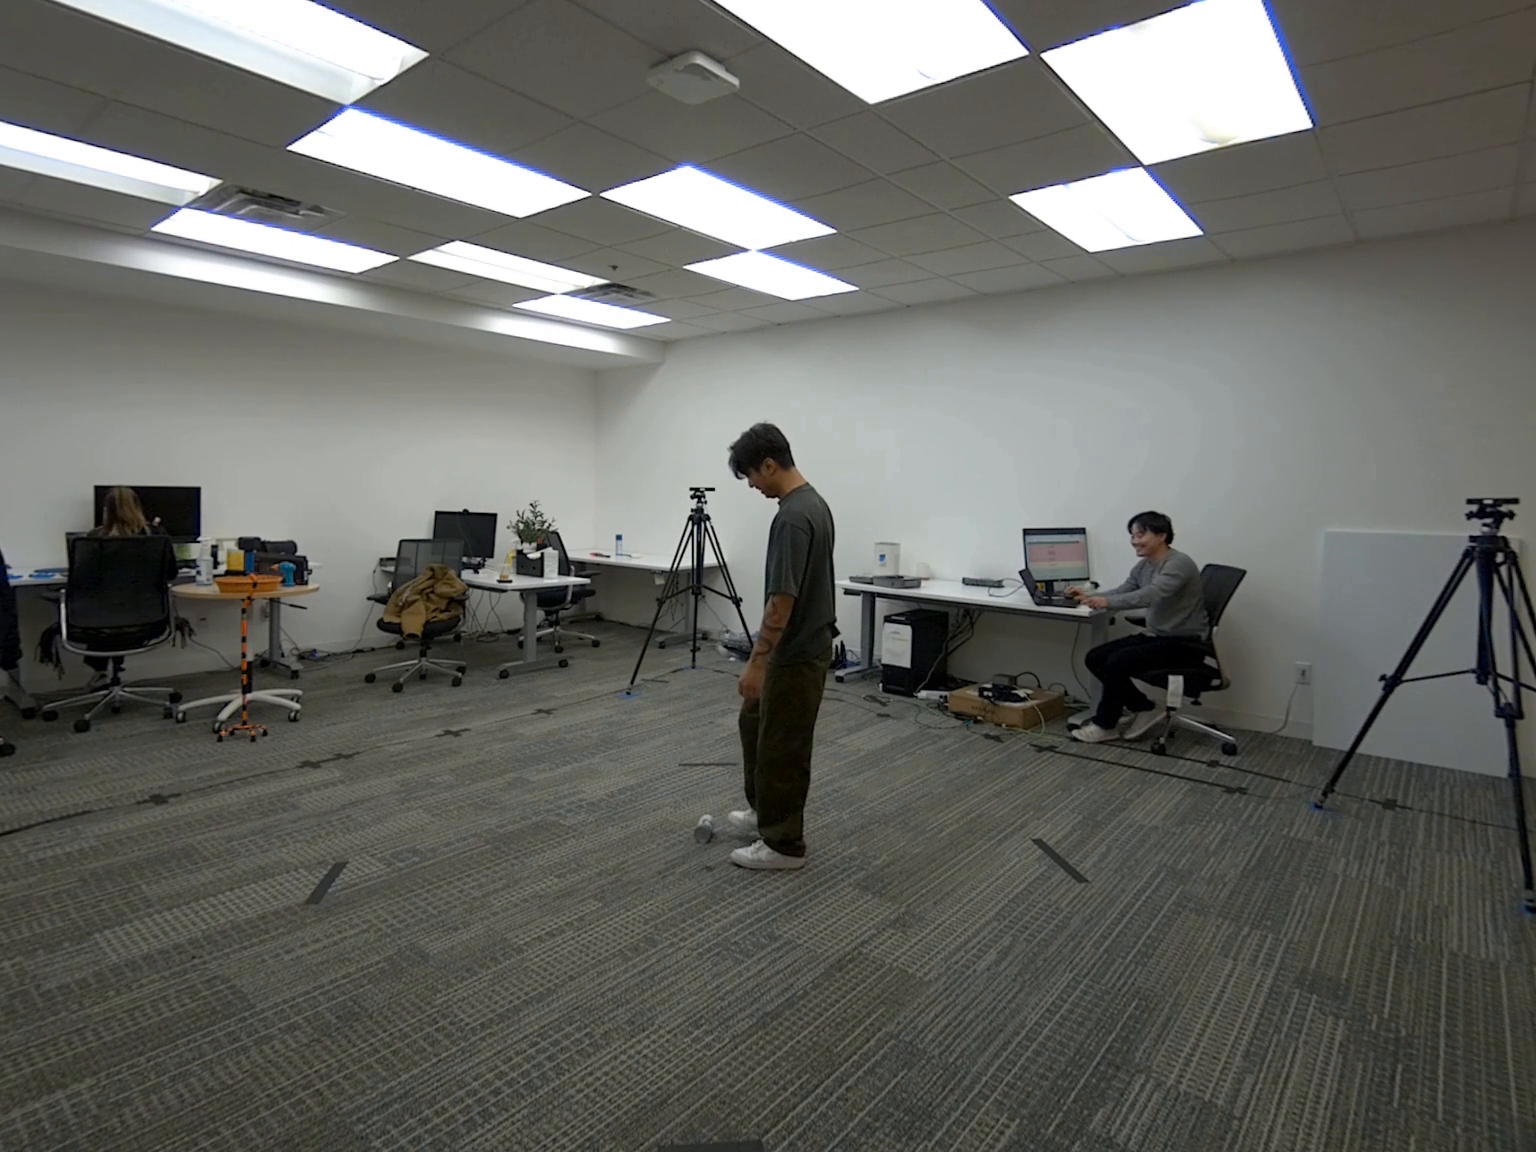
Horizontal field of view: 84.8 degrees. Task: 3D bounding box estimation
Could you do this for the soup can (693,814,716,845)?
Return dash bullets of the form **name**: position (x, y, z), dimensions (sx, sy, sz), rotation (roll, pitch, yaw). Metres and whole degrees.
- **soup can**: position (-0.262, 1.000, 3.407), dimensions (0.067, 0.066, 0.122), rotation (1, 10, 2)
